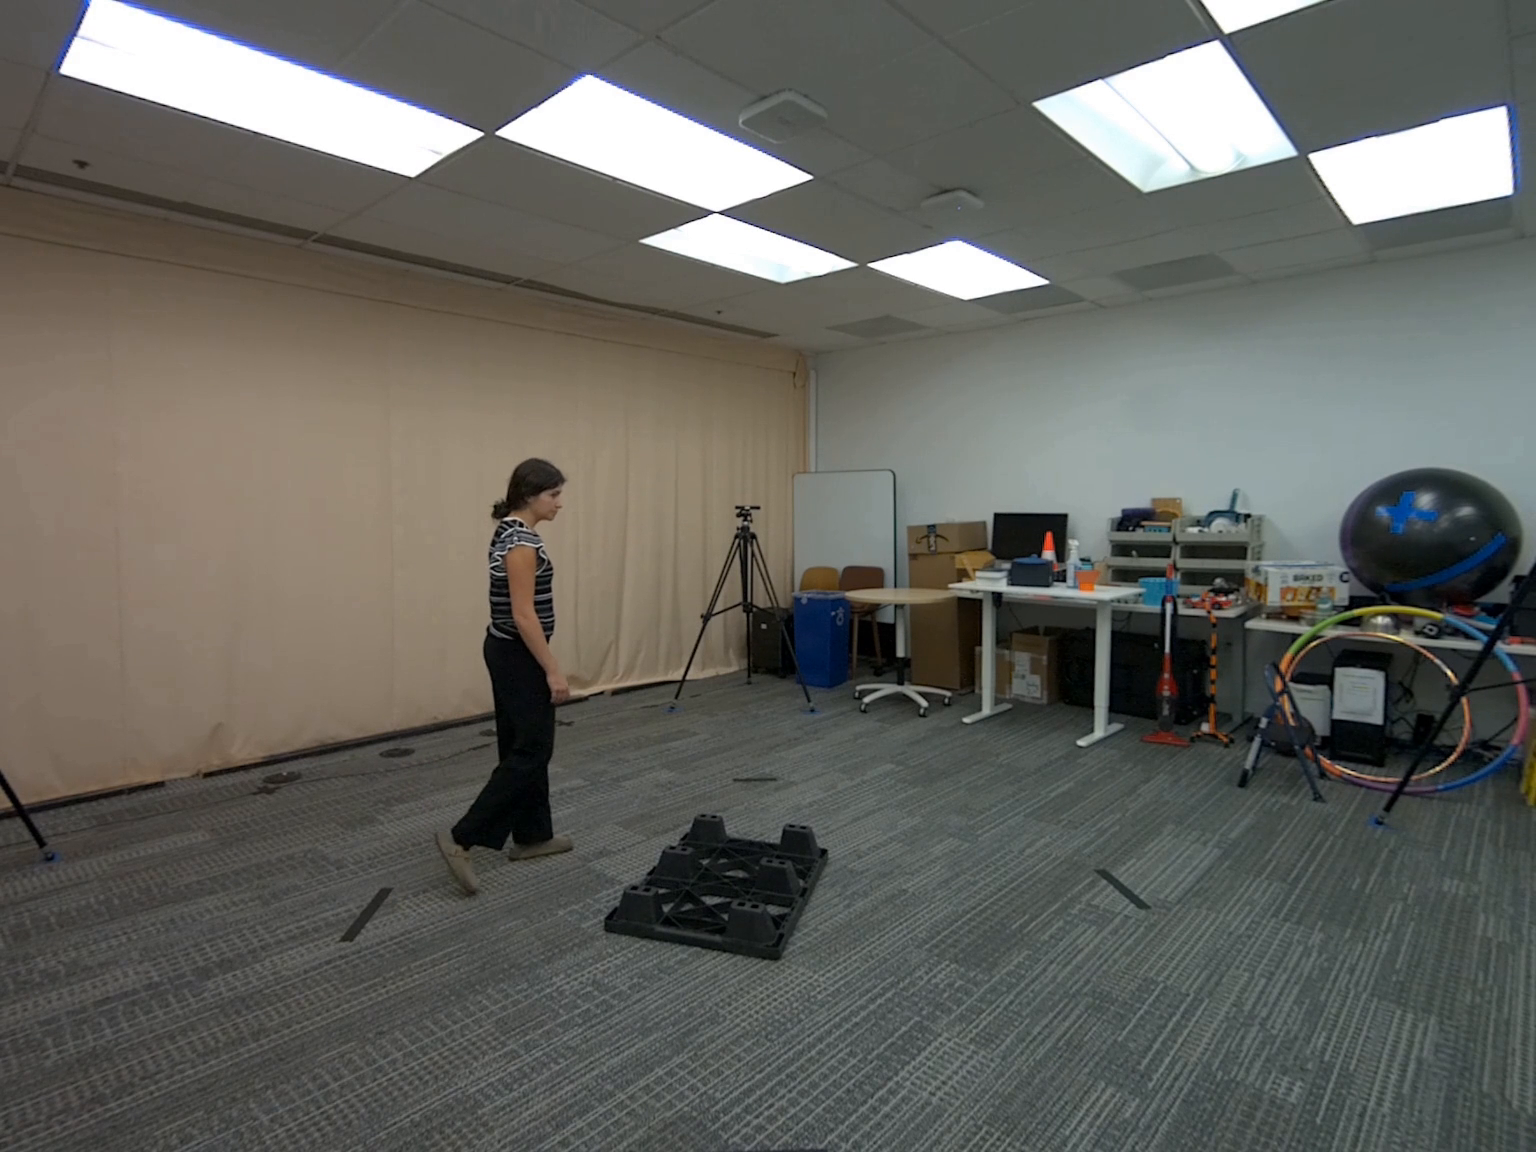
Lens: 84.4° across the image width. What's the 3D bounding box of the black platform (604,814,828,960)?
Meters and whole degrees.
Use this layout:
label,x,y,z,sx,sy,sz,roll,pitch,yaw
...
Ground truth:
label,x,y,z,sx,sy,sz,roll,pitch,yaw
black platform,-0.153,1.072,3.039,0.616,0.143,0.793,2,5,16
